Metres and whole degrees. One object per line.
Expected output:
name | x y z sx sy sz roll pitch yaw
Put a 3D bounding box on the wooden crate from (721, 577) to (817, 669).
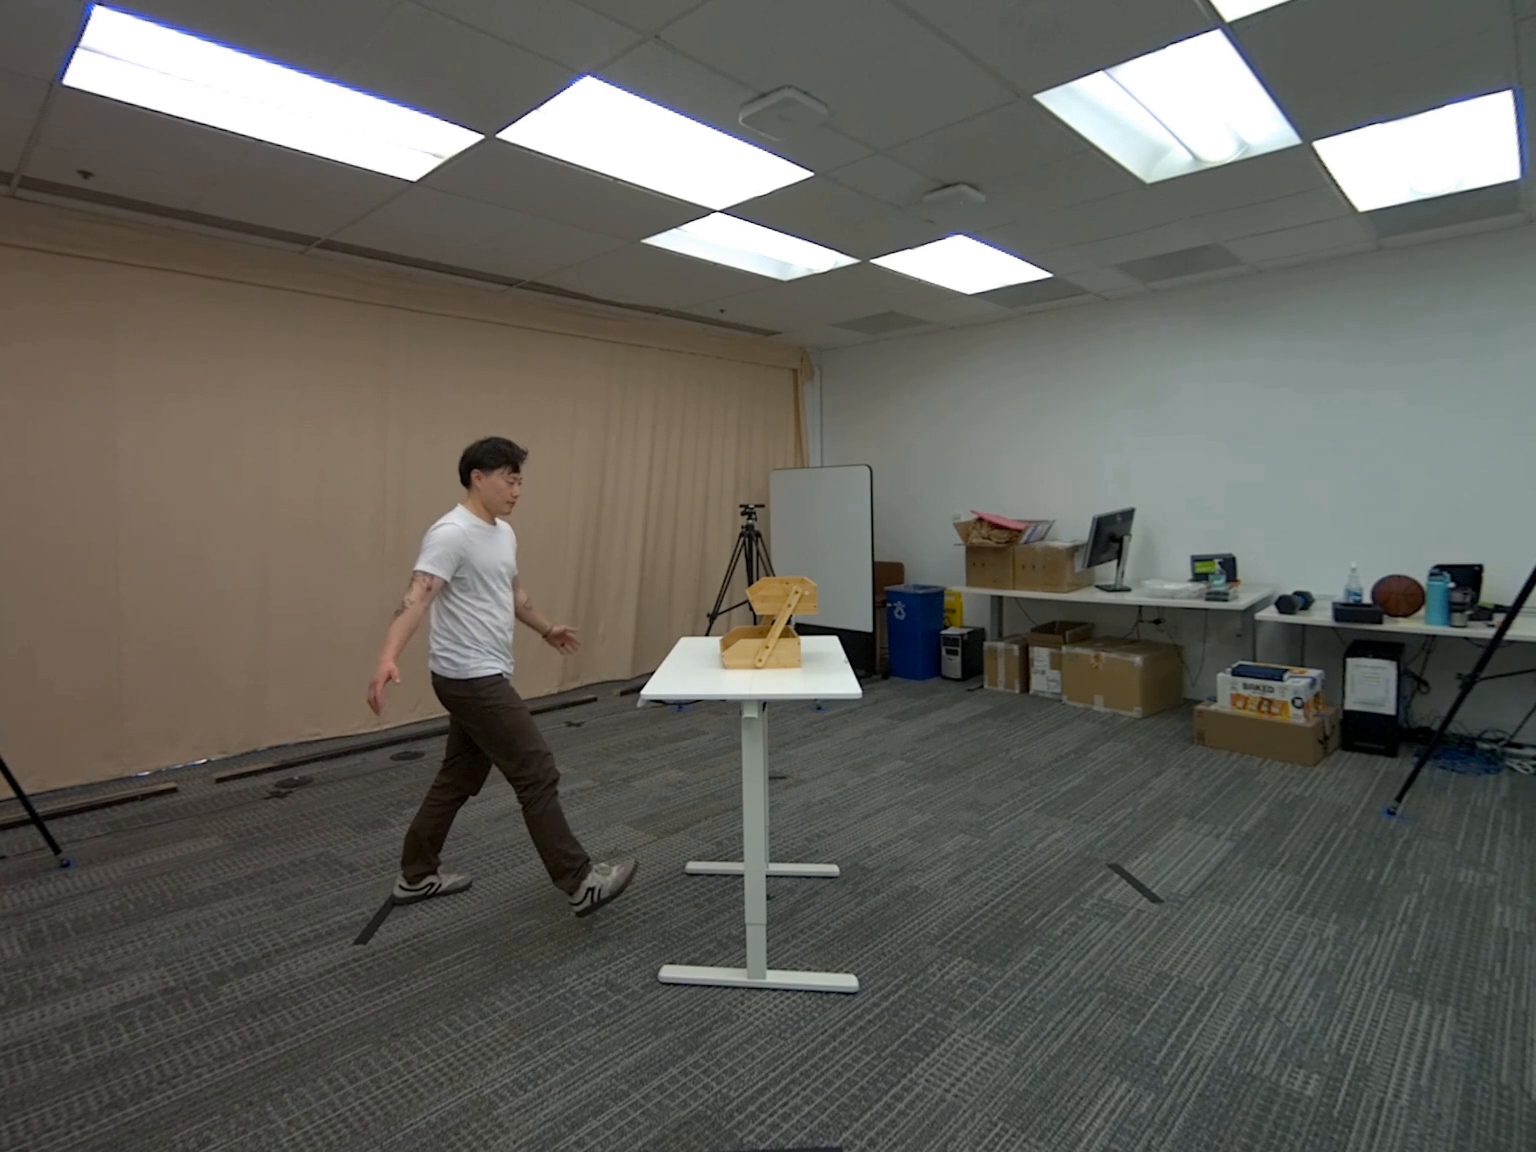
wooden crate | -0.011 0.150 2.755 0.301 0.273 0.326 0 4 -3
